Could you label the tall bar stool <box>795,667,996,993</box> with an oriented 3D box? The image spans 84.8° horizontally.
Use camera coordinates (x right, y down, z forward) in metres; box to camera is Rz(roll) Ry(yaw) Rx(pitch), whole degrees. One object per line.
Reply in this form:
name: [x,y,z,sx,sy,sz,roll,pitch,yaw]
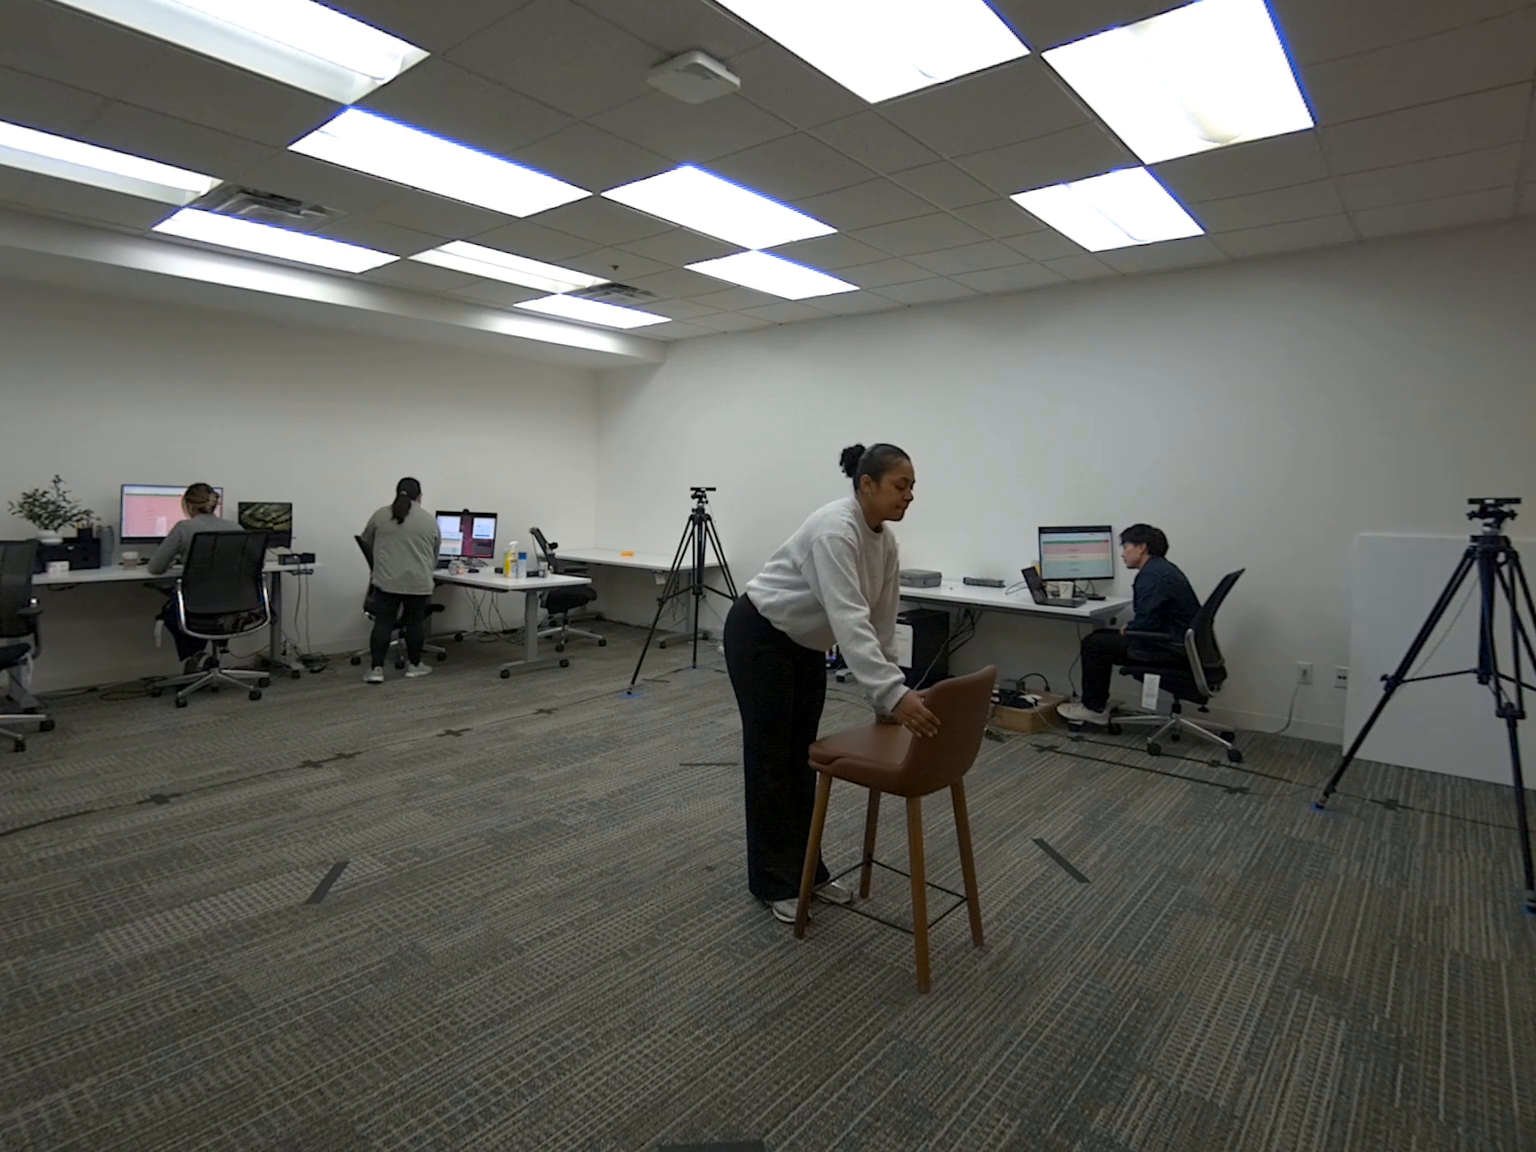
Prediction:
tall bar stool: [0.390,0.685,2.624,0.484,0.887,0.442,7,5,40]
